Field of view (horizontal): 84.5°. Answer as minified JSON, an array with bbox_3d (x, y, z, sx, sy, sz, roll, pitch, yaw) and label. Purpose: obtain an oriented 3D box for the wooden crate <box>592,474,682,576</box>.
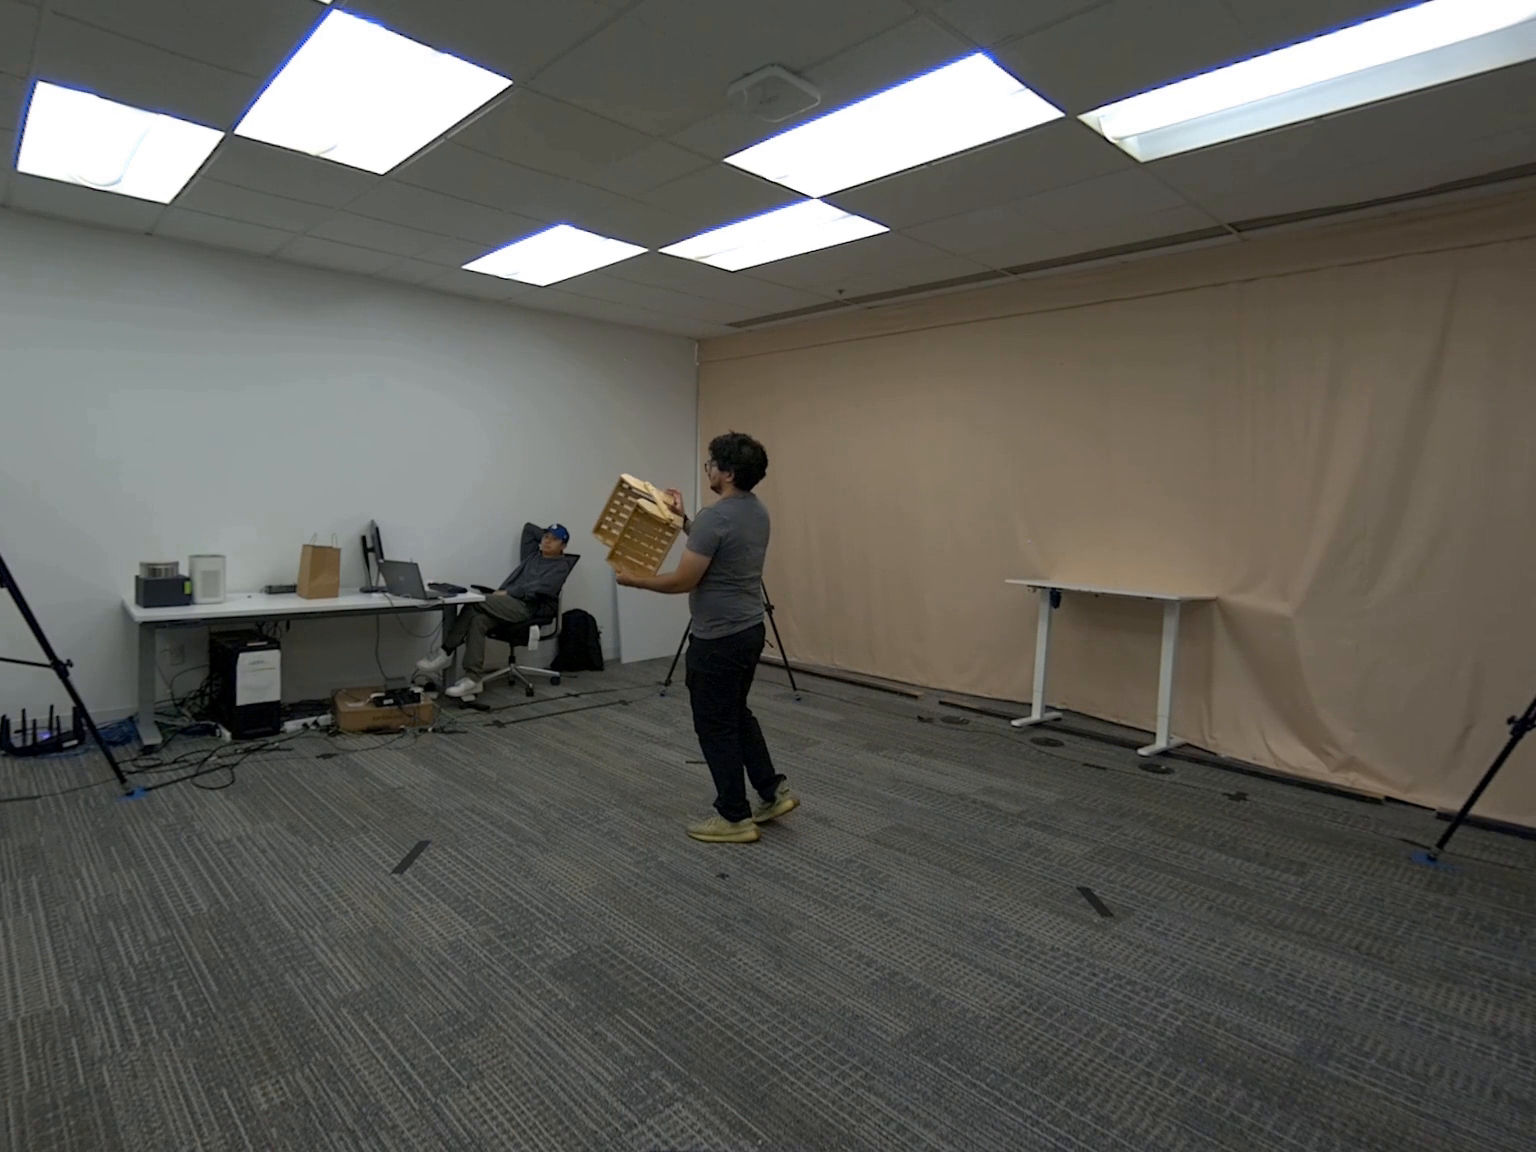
[{"bbox_3d":[-0.555,-0.194,3.502,0.298,0.323,0.278,26,24,-14],"label":"wooden crate"}]
